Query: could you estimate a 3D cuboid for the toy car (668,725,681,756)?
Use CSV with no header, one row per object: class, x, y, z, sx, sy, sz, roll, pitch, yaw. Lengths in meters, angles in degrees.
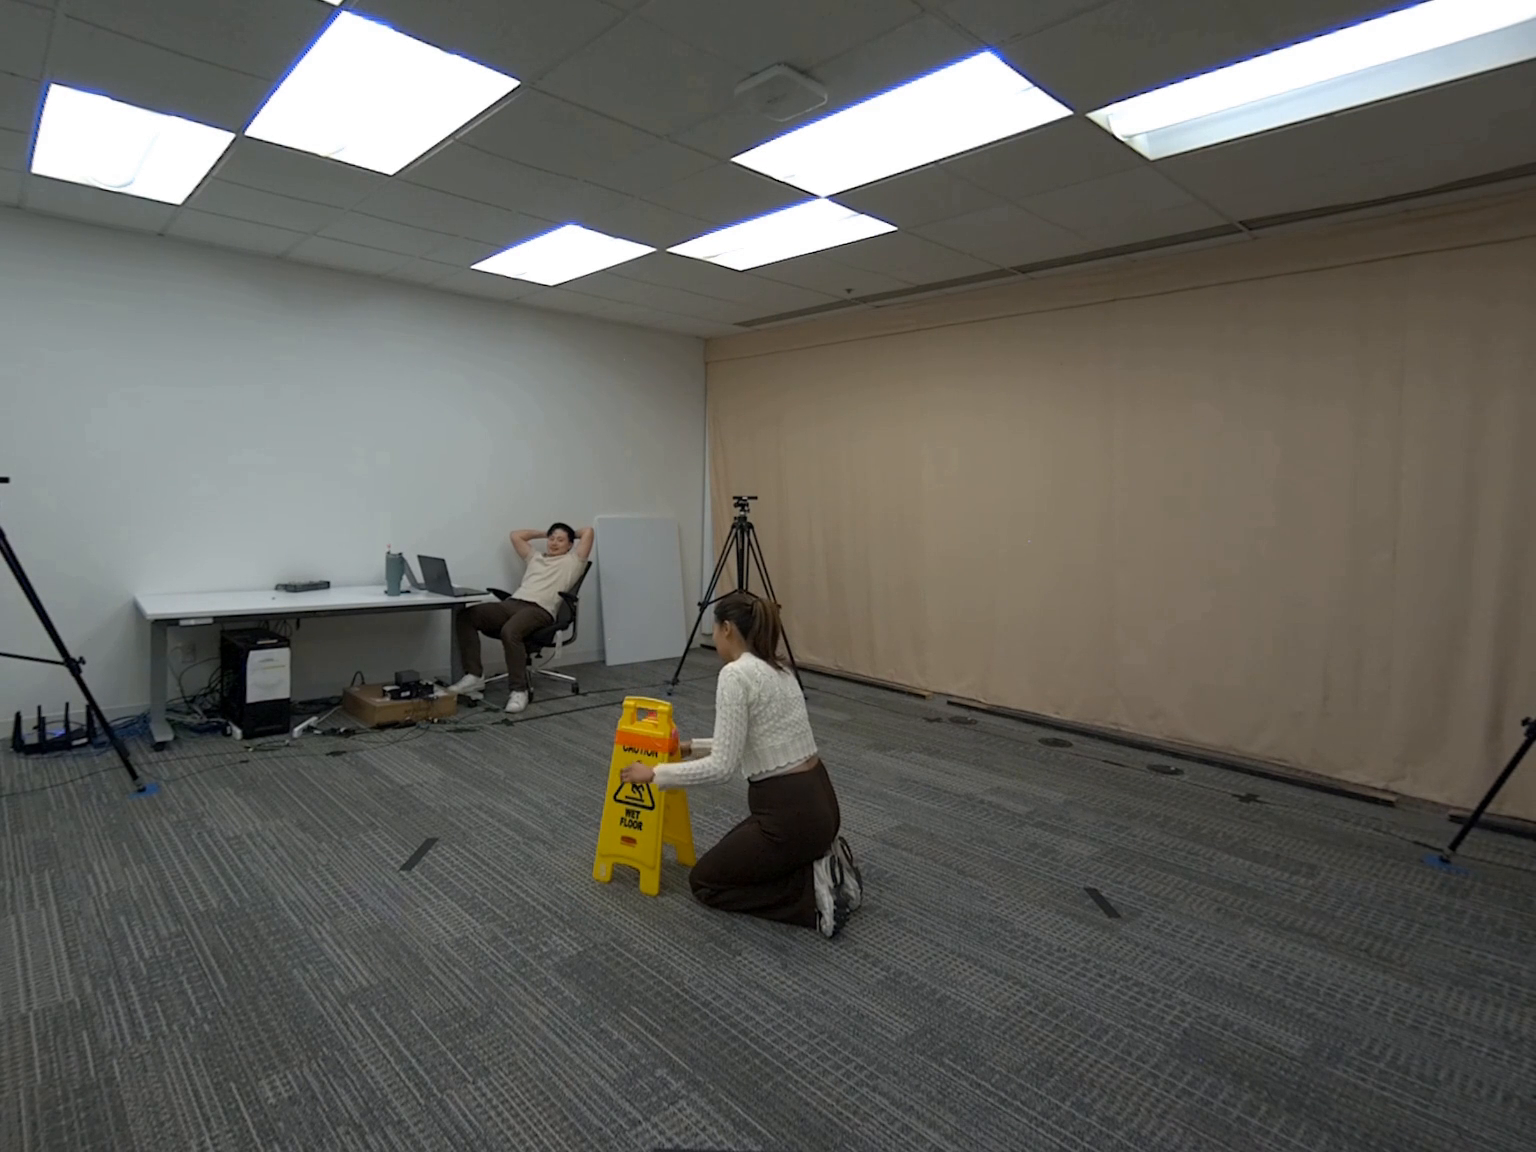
toy car,-0.405,0.630,3.157,0.132,0.255,0.081,-6,-3,27
